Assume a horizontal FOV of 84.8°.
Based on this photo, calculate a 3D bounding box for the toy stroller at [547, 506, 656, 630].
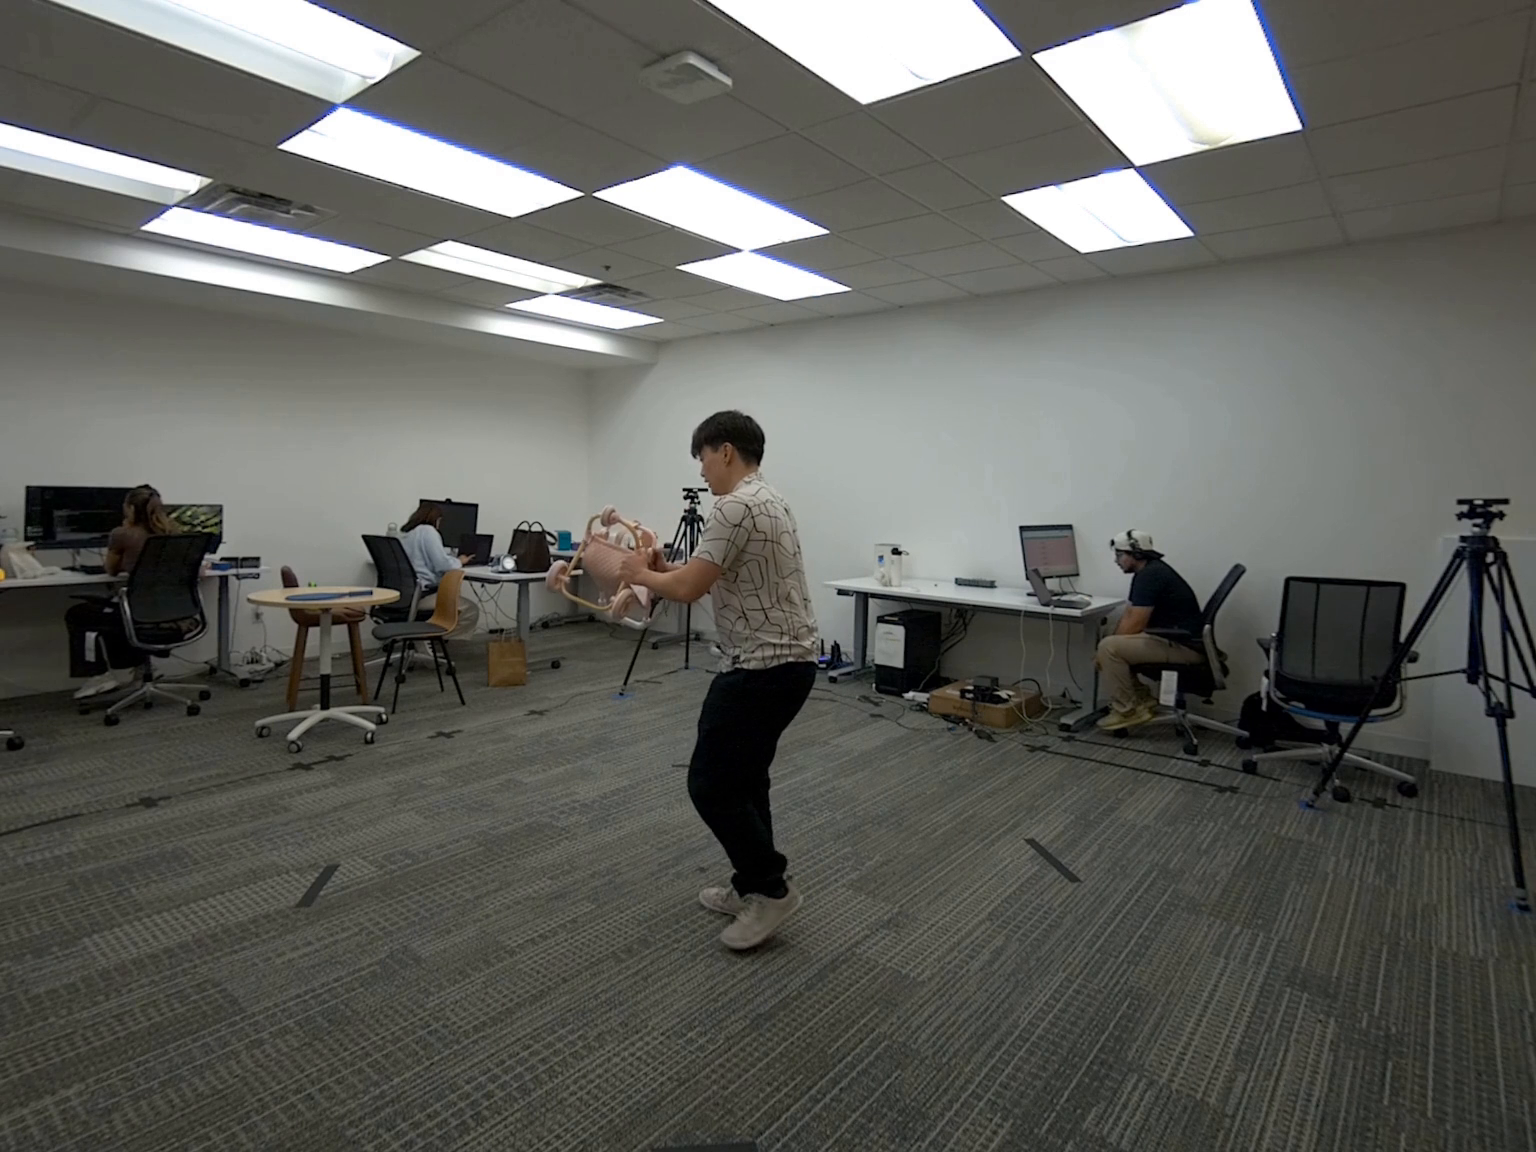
[{"bbox_3d":[-0.515,-0.031,2.877,0.288,0.343,0.521,16,-7,16],"label":"toy stroller"}]
